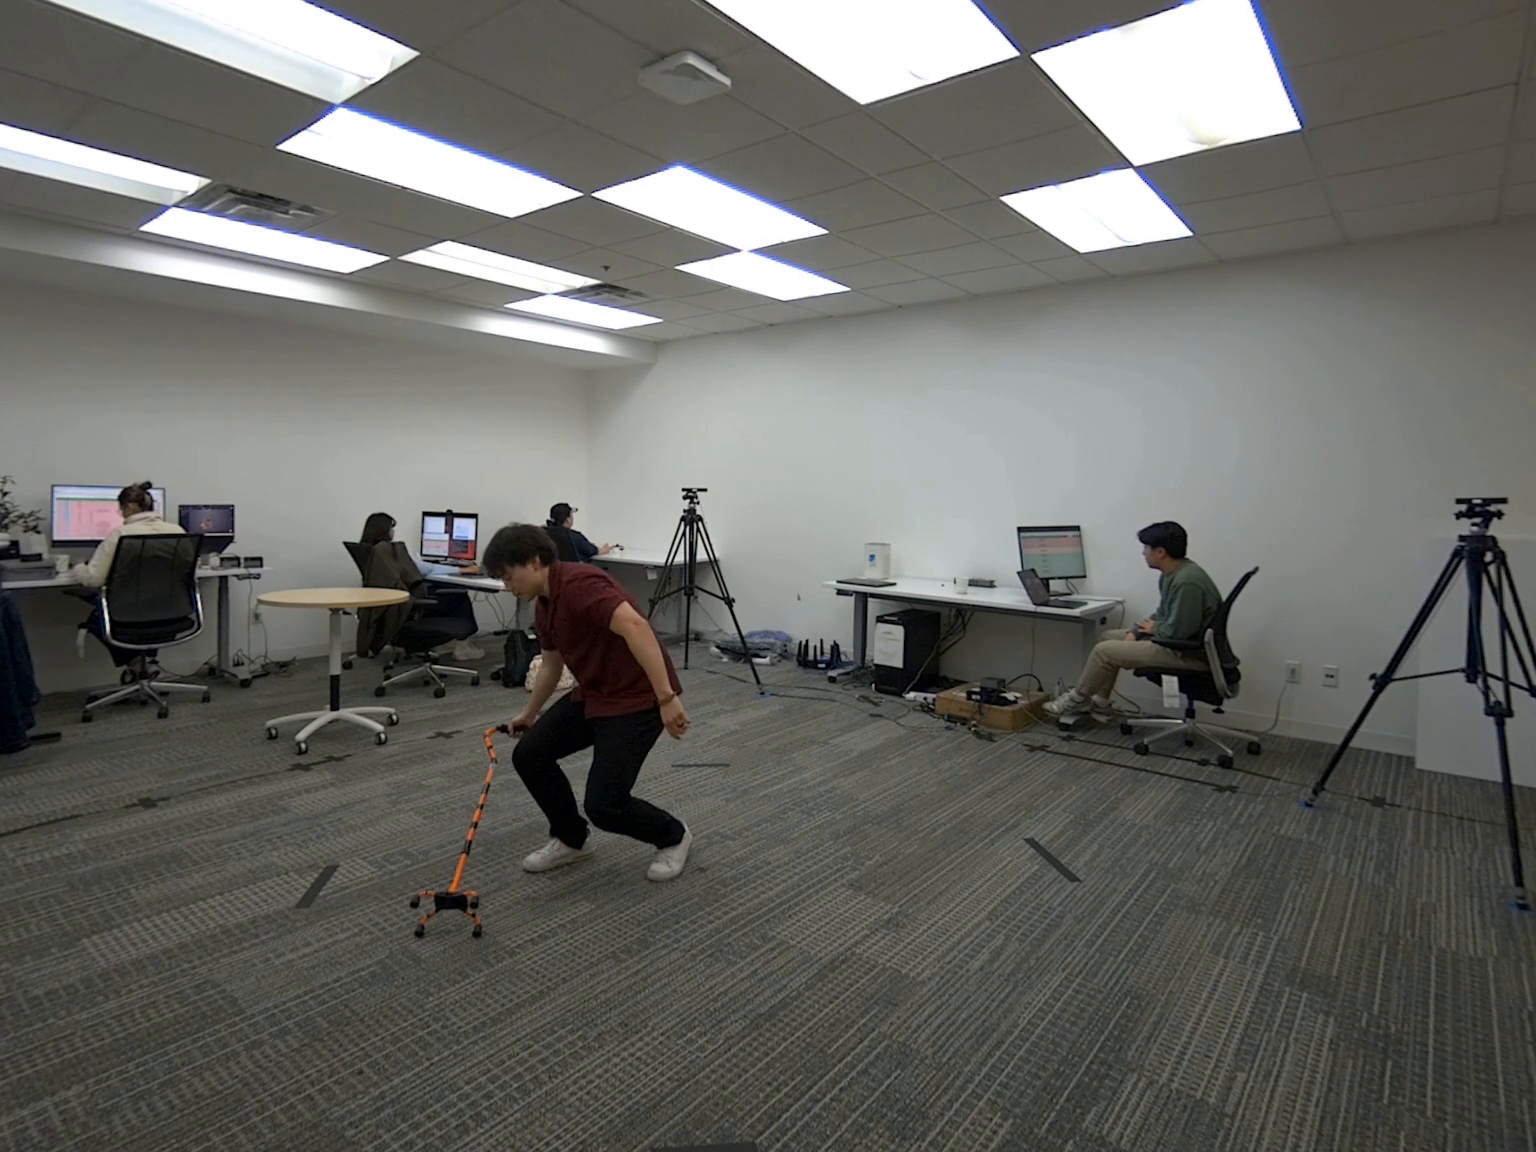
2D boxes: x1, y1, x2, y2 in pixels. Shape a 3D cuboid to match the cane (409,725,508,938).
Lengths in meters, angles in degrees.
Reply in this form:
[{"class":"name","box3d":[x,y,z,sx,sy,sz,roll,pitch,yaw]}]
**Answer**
[{"class":"cane","box3d":[-1.022,0.826,2.988,0.205,0.148,0.932,1,28,-6]}]
